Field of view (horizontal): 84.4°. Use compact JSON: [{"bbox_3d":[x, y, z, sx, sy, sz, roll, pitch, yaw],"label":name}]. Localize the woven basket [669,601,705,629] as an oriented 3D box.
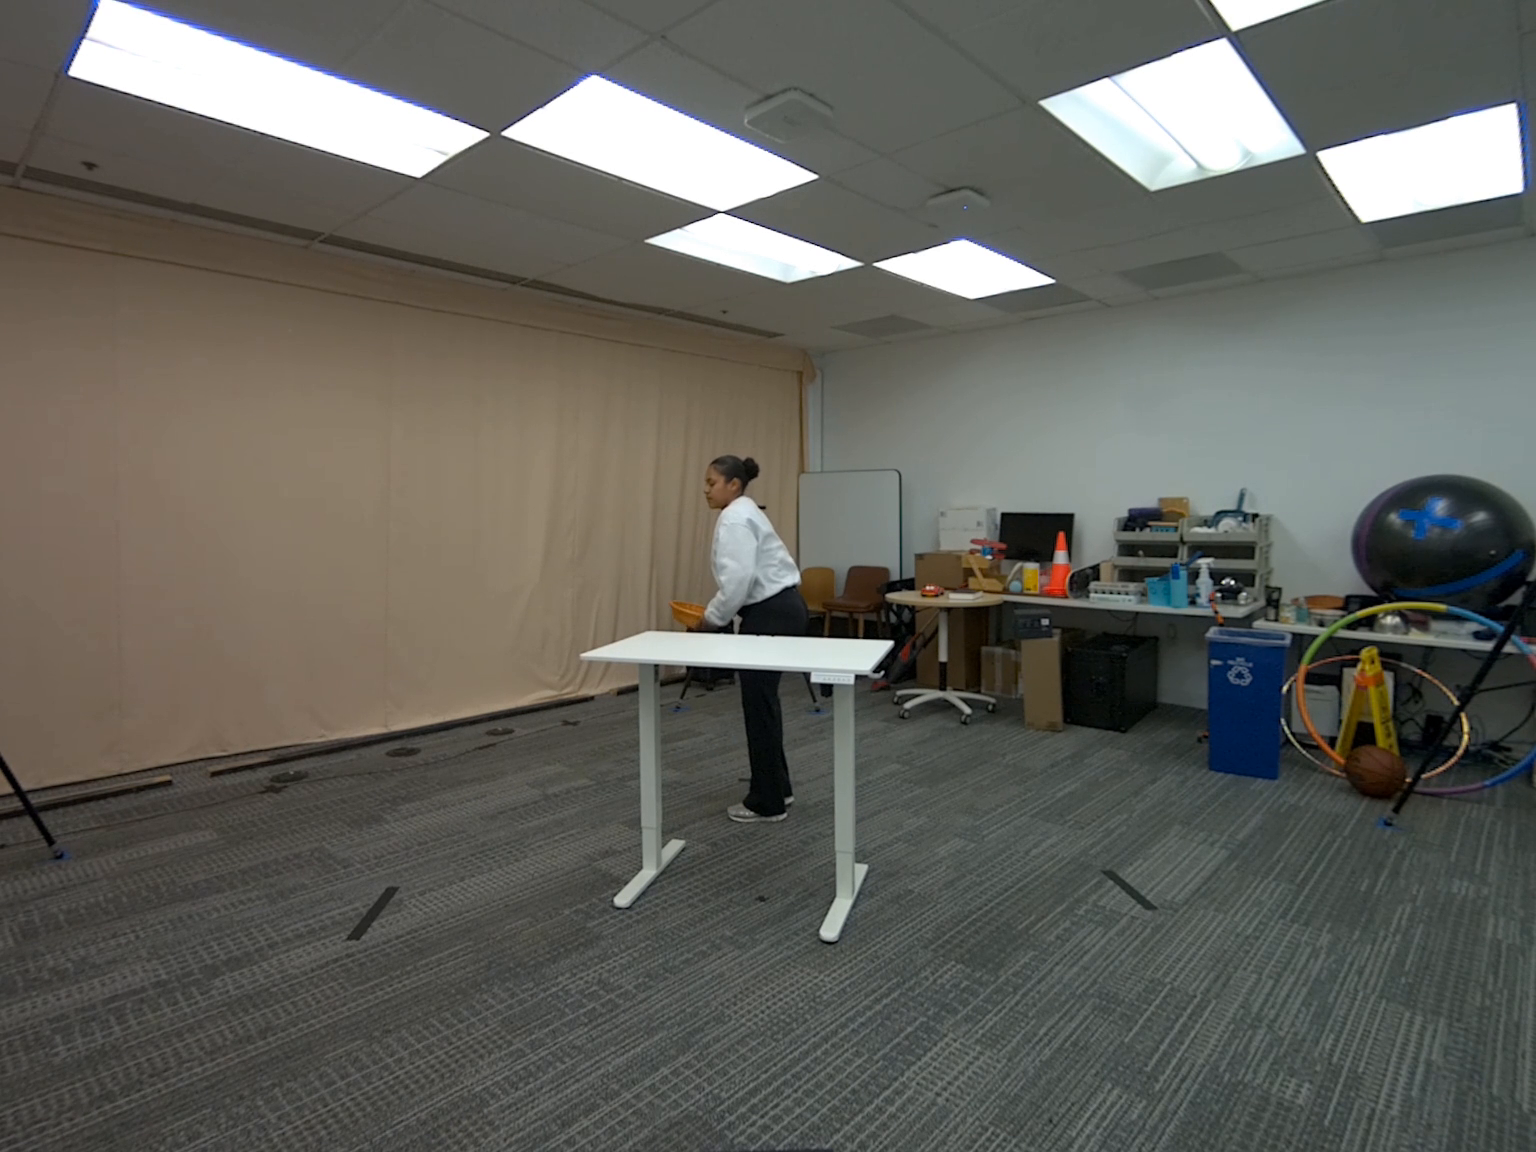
[{"bbox_3d":[-0.329,0.197,3.915,0.249,0.073,0.355,9,4,-11],"label":"woven basket"}]
